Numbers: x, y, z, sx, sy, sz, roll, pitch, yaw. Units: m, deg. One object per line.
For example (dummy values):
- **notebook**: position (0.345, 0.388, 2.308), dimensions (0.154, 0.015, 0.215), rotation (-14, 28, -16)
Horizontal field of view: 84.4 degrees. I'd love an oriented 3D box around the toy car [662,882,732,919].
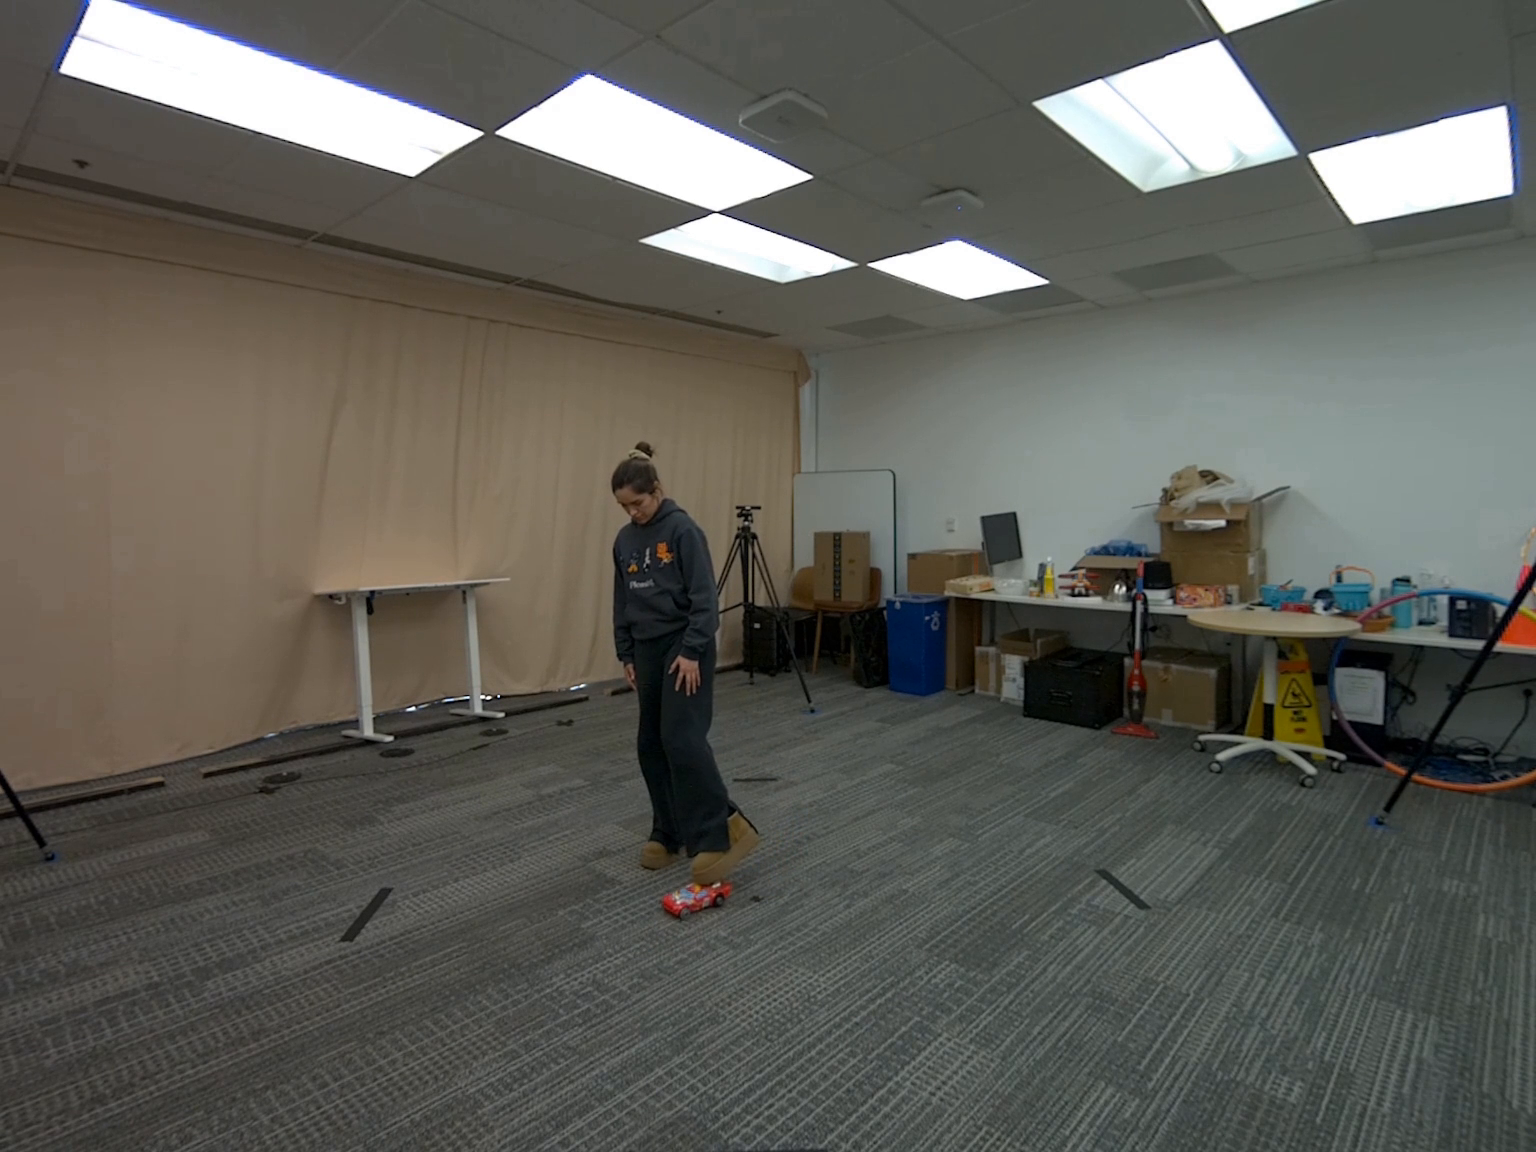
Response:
- **toy car**: position (-0.218, 1.118, 2.934), dimensions (0.248, 0.082, 0.134), rotation (-18, 13, -35)
